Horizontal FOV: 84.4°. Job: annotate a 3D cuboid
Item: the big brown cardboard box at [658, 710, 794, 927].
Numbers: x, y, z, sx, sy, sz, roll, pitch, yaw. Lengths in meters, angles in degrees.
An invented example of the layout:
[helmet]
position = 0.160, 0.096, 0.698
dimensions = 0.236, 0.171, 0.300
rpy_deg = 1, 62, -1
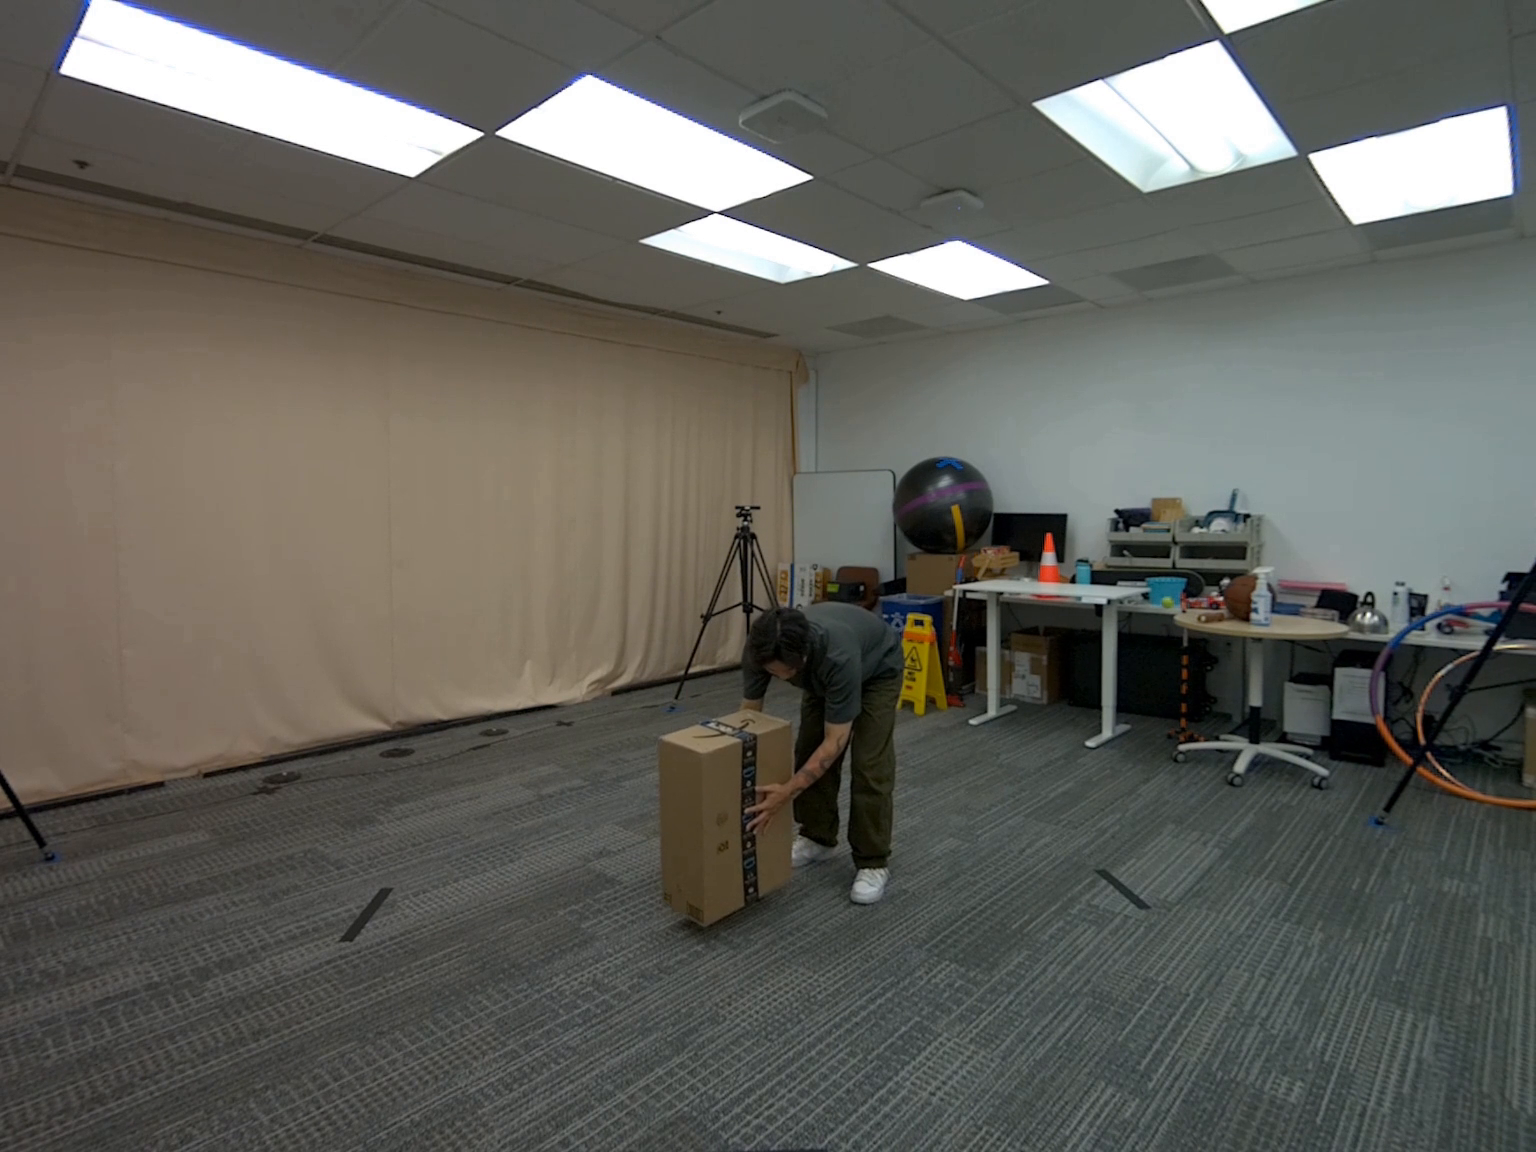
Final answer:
[big brown cardboard box]
position = -0.132, 0.790, 2.826
dimensions = 0.241, 0.587, 0.405
rpy_deg = 5, 8, 45
